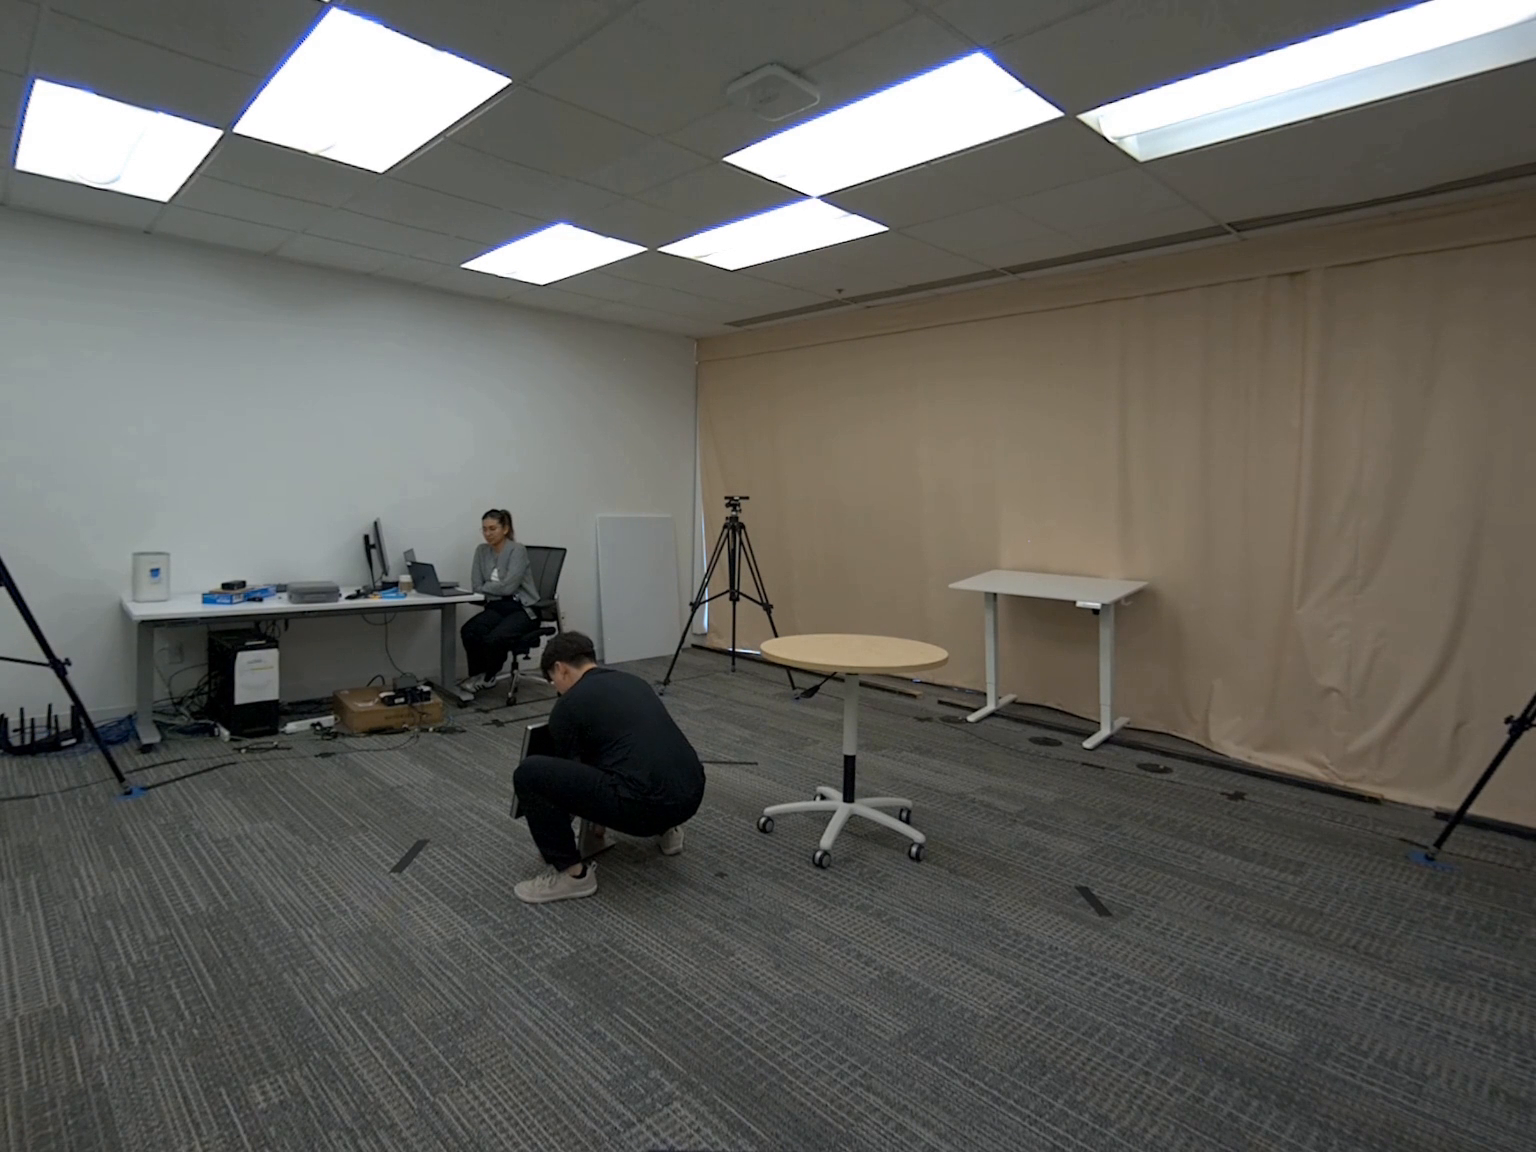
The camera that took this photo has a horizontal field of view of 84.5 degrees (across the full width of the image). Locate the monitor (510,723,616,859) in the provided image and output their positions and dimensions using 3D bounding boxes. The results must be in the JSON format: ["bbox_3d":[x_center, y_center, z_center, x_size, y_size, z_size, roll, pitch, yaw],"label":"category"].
[{"bbox_3d":[-0.726,0.789,3.275,0.191,0.521,0.528,5,5,32],"label":"monitor"}]
